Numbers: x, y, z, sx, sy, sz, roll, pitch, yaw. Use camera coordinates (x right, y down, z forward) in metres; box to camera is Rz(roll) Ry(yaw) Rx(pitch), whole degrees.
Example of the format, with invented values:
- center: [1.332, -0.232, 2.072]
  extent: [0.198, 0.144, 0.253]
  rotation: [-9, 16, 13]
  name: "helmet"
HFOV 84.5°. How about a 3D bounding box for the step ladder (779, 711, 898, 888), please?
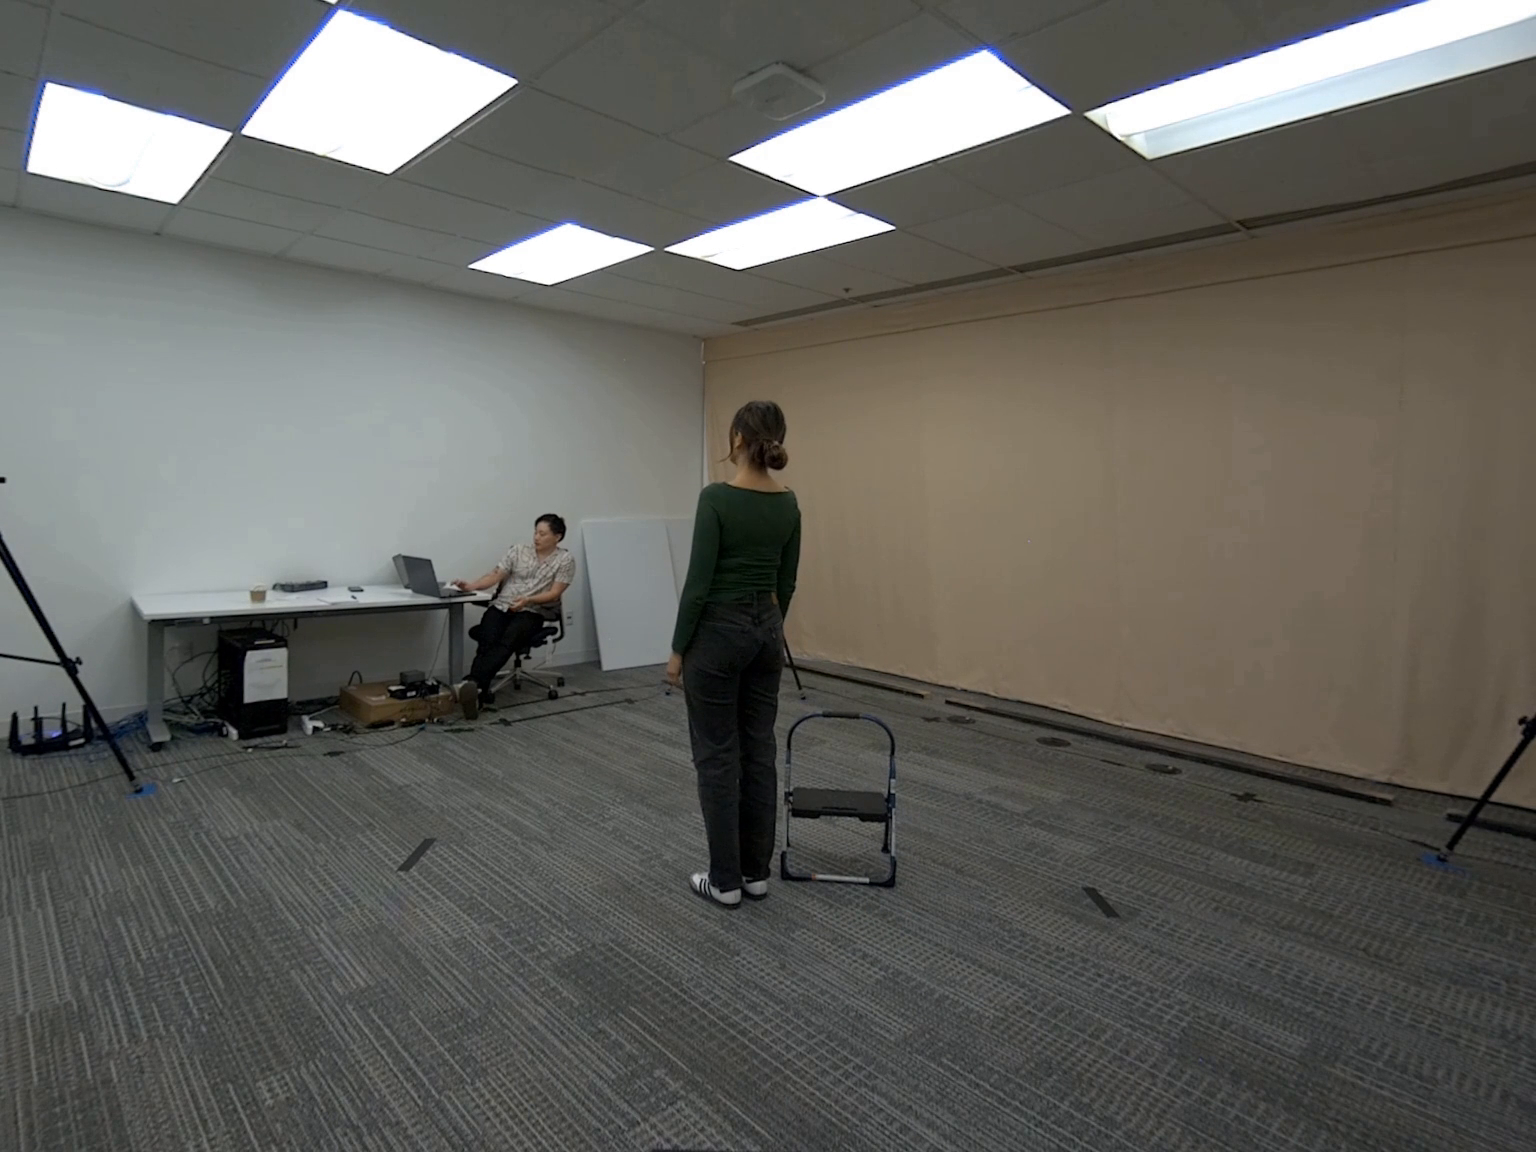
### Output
- center: [0.263, 0.798, 3.198]
  extent: [0.432, 0.605, 0.349]
  rotation: [1, 3, 4]
  name: "step ladder"
